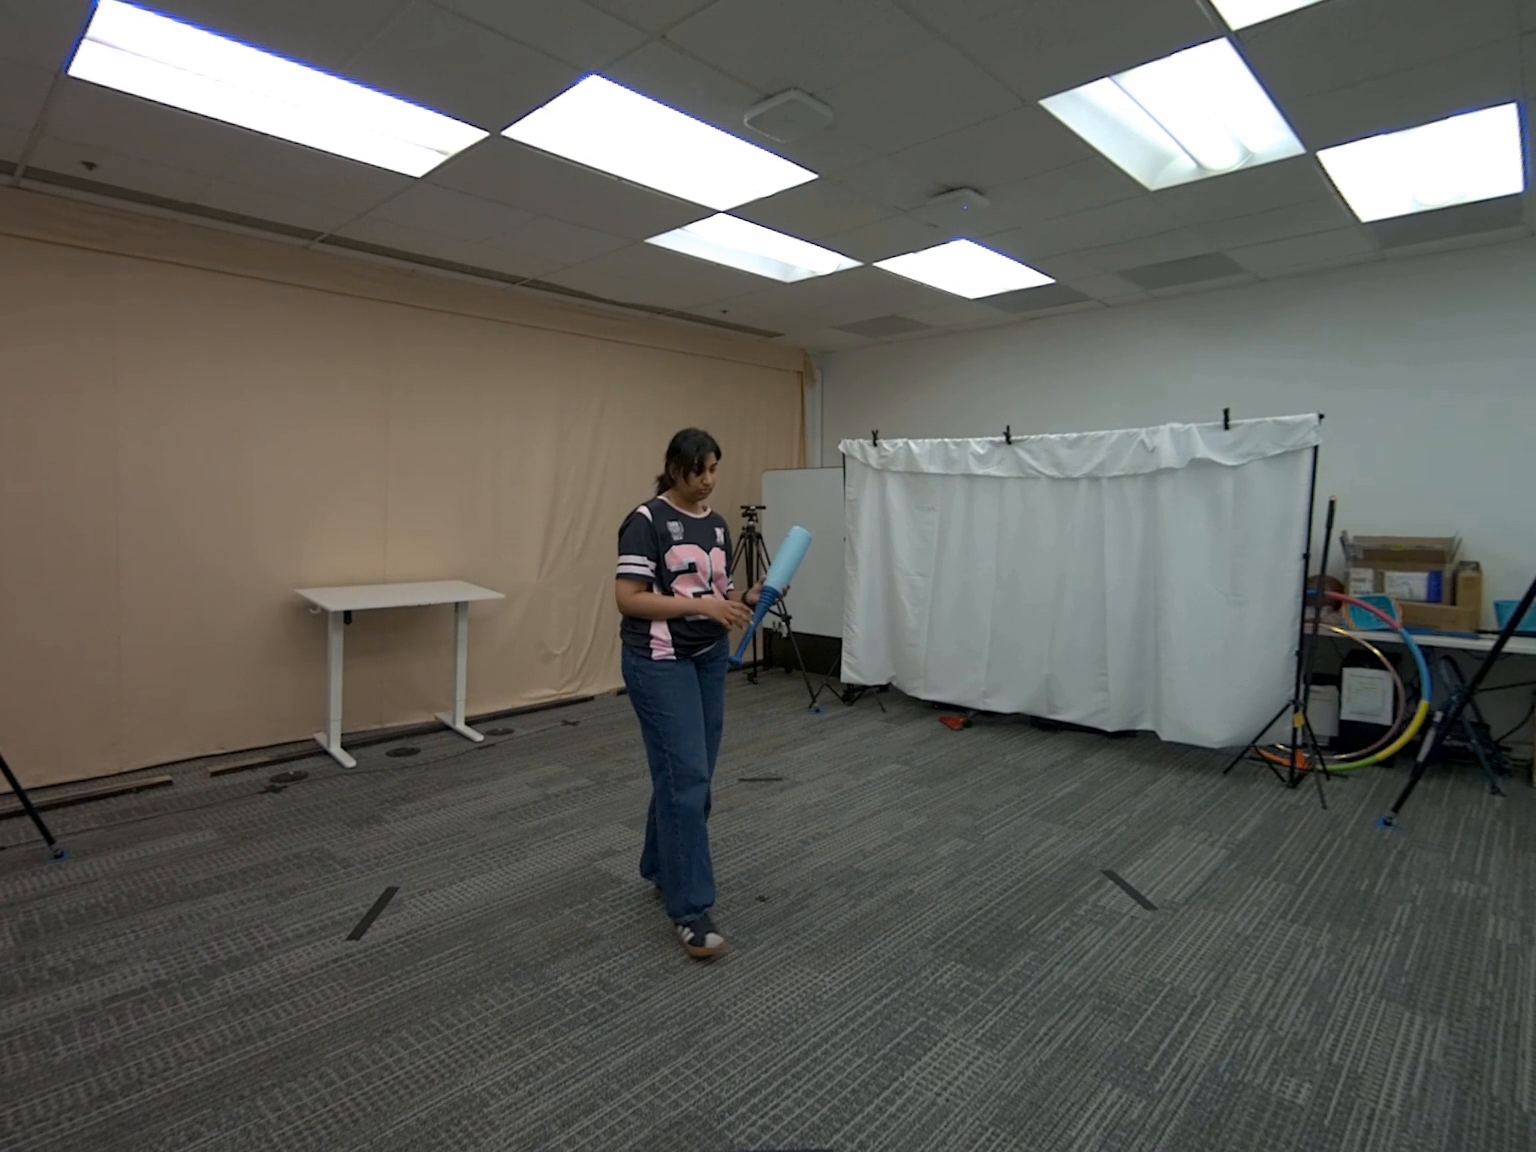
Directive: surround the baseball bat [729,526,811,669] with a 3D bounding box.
[{"bbox_3d":[0.013,0.069,2.840,0.090,0.543,0.088,25,-21,8],"label":"baseball bat"}]
